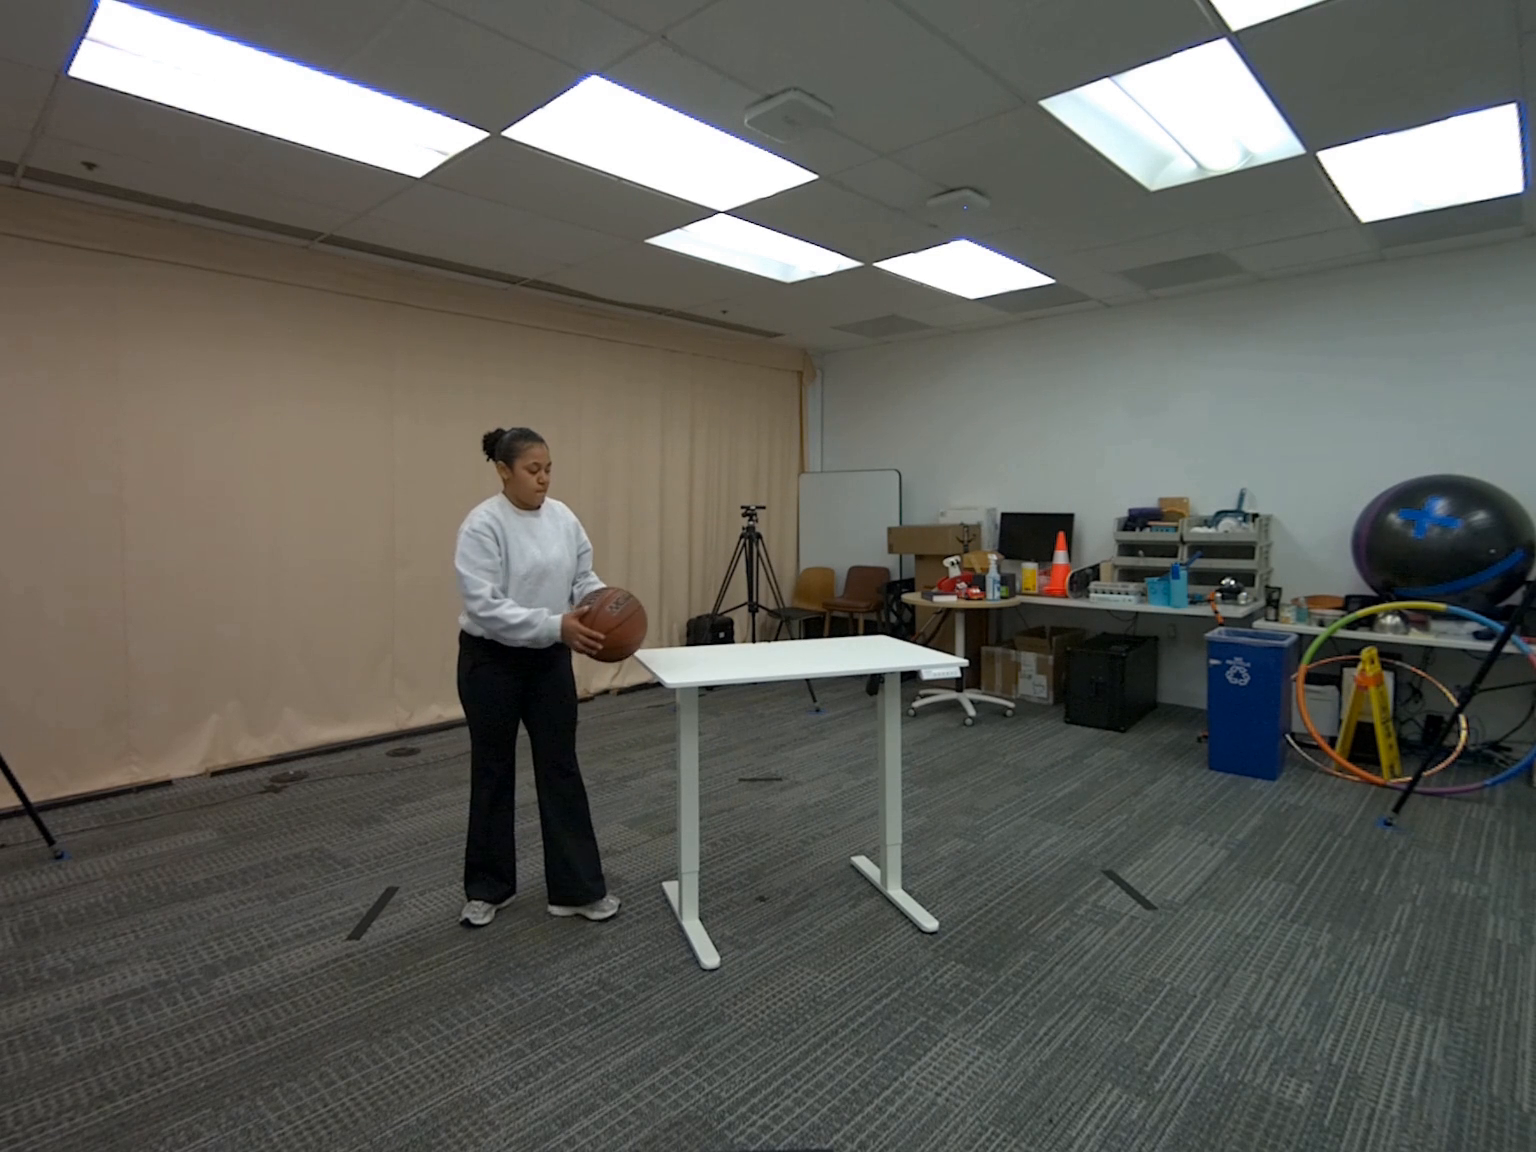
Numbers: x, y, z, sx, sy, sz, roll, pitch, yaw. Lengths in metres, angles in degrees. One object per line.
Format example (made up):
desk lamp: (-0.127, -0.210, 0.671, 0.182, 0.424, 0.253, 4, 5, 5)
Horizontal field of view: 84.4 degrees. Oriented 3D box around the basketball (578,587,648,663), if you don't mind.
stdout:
basketball: (-0.503, 0.166, 2.643, 0.236, 0.235, 0.237, 0, 4, -2)
